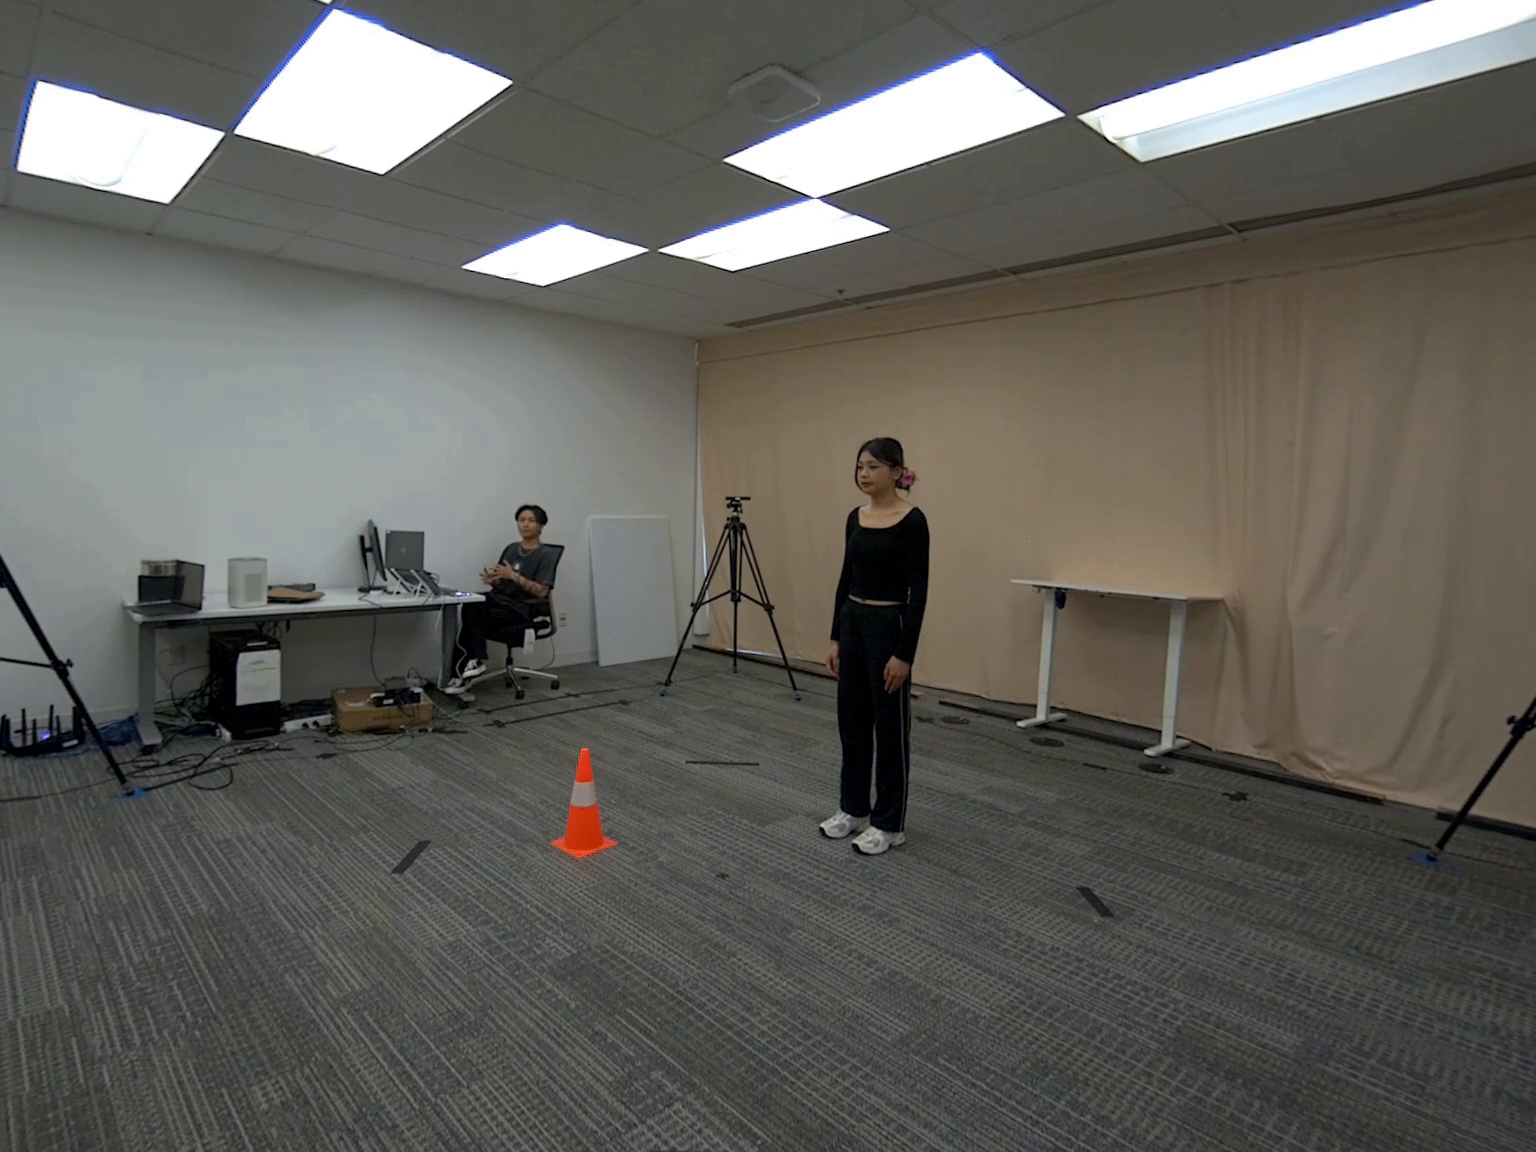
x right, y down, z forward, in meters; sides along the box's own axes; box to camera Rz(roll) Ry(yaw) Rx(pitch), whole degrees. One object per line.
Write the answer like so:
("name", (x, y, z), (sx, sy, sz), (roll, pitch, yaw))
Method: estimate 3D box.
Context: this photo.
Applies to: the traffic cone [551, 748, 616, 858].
("traffic cone", (-0.740, 0.886, 3.357), (0.200, 0.383, 0.208), (-1, 4, -44))
